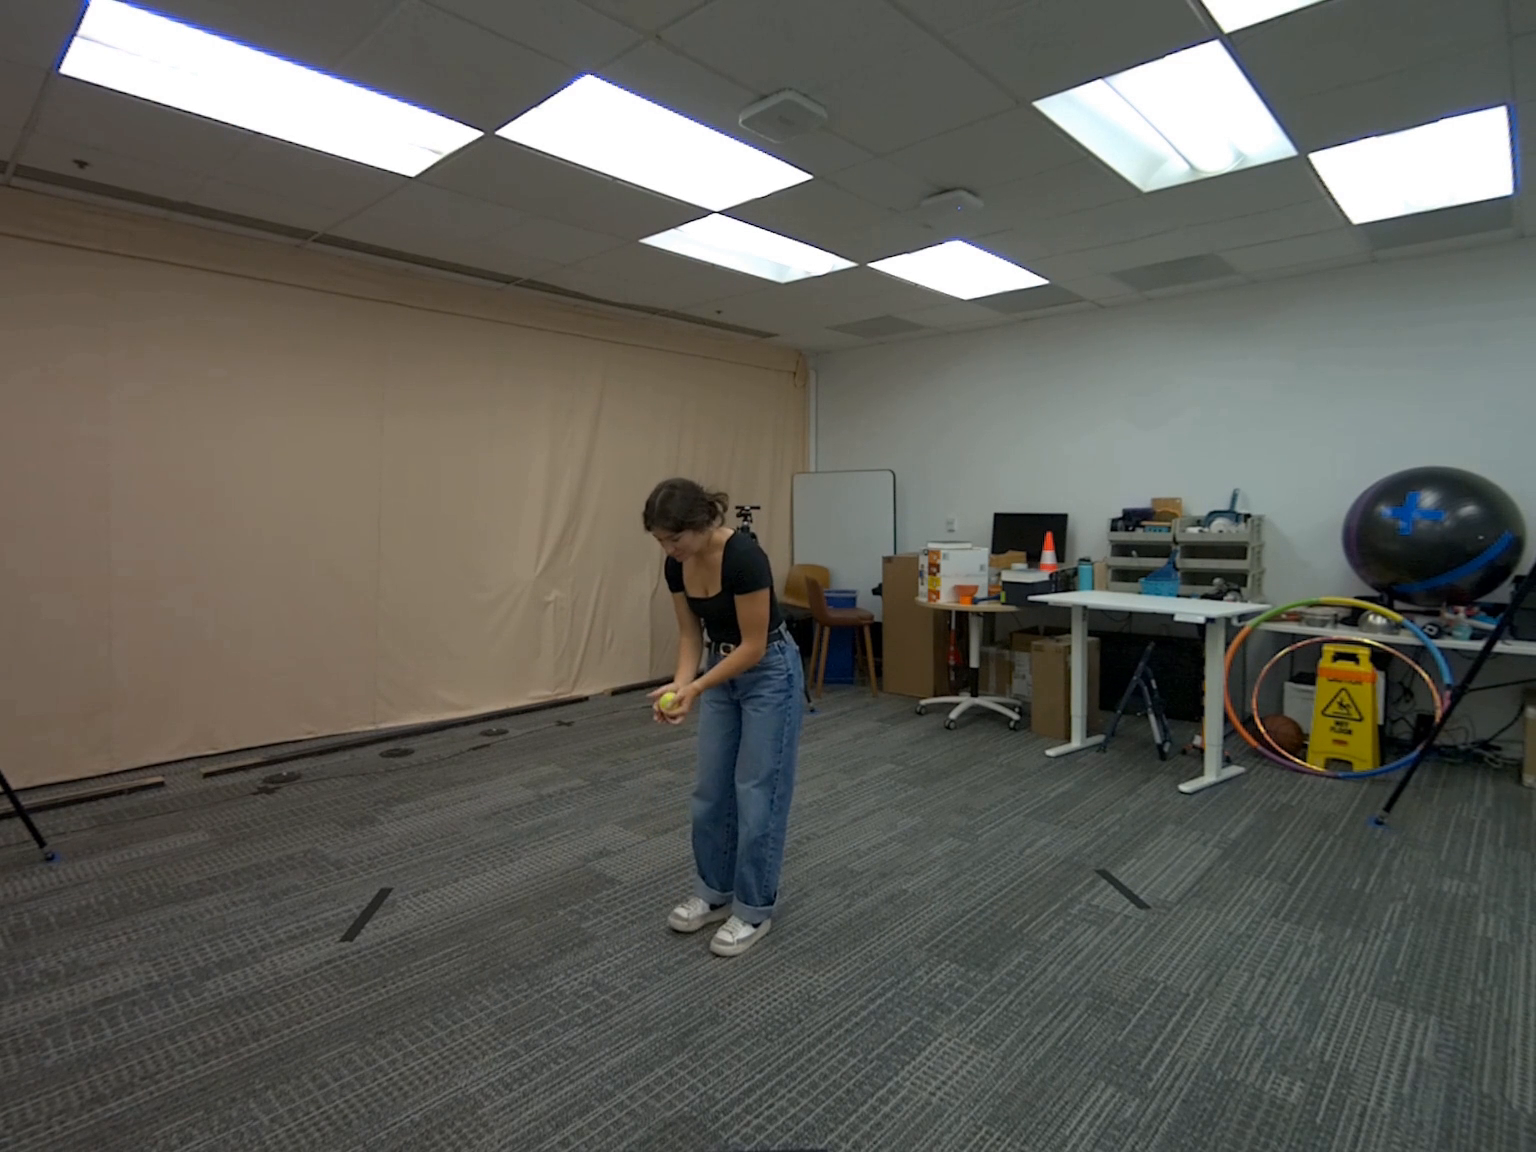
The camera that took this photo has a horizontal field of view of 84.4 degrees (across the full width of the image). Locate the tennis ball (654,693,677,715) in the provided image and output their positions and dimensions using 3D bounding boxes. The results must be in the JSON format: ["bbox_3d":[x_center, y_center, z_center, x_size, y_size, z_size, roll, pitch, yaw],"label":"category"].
[{"bbox_3d":[-0.291,0.361,2.536,0.066,0.066,0.067,0,4,-2],"label":"tennis ball"}]
